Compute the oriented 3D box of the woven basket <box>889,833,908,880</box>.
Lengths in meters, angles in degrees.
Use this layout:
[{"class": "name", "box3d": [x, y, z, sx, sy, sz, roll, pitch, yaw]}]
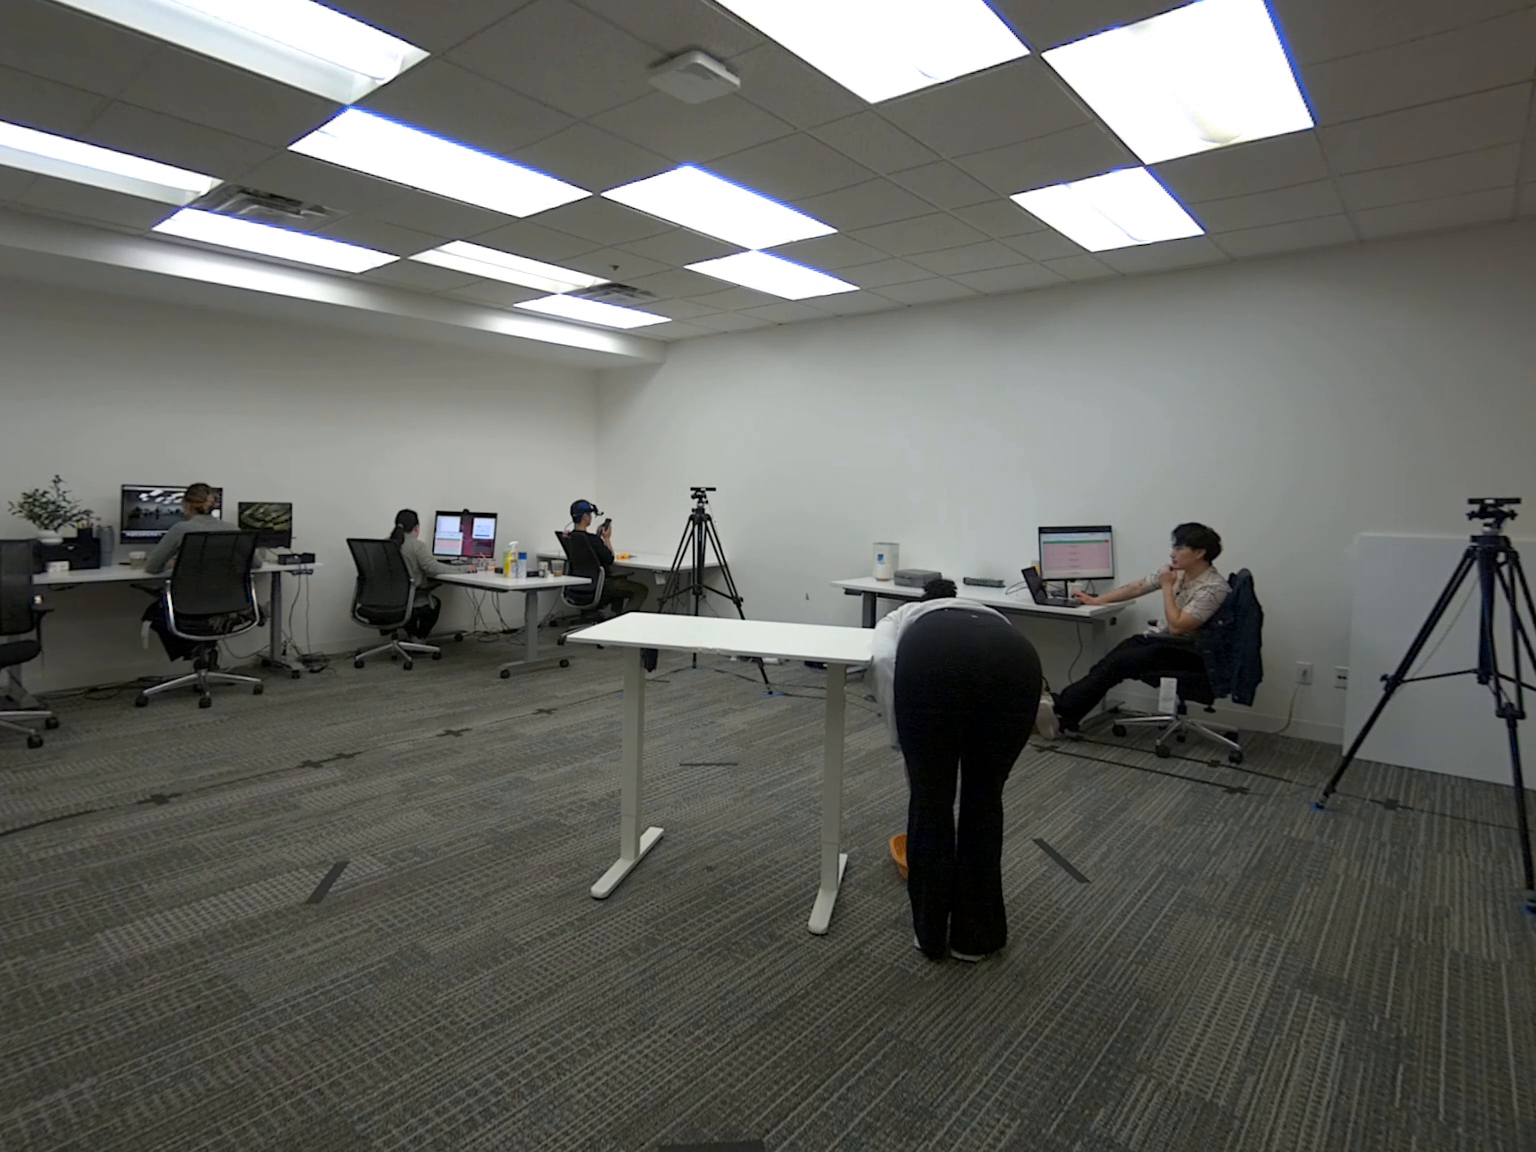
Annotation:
[{"class": "woven basket", "box3d": [0.569, 1.040, 3.141, 0.254, 0.073, 0.350, 2, 6, 3]}]
